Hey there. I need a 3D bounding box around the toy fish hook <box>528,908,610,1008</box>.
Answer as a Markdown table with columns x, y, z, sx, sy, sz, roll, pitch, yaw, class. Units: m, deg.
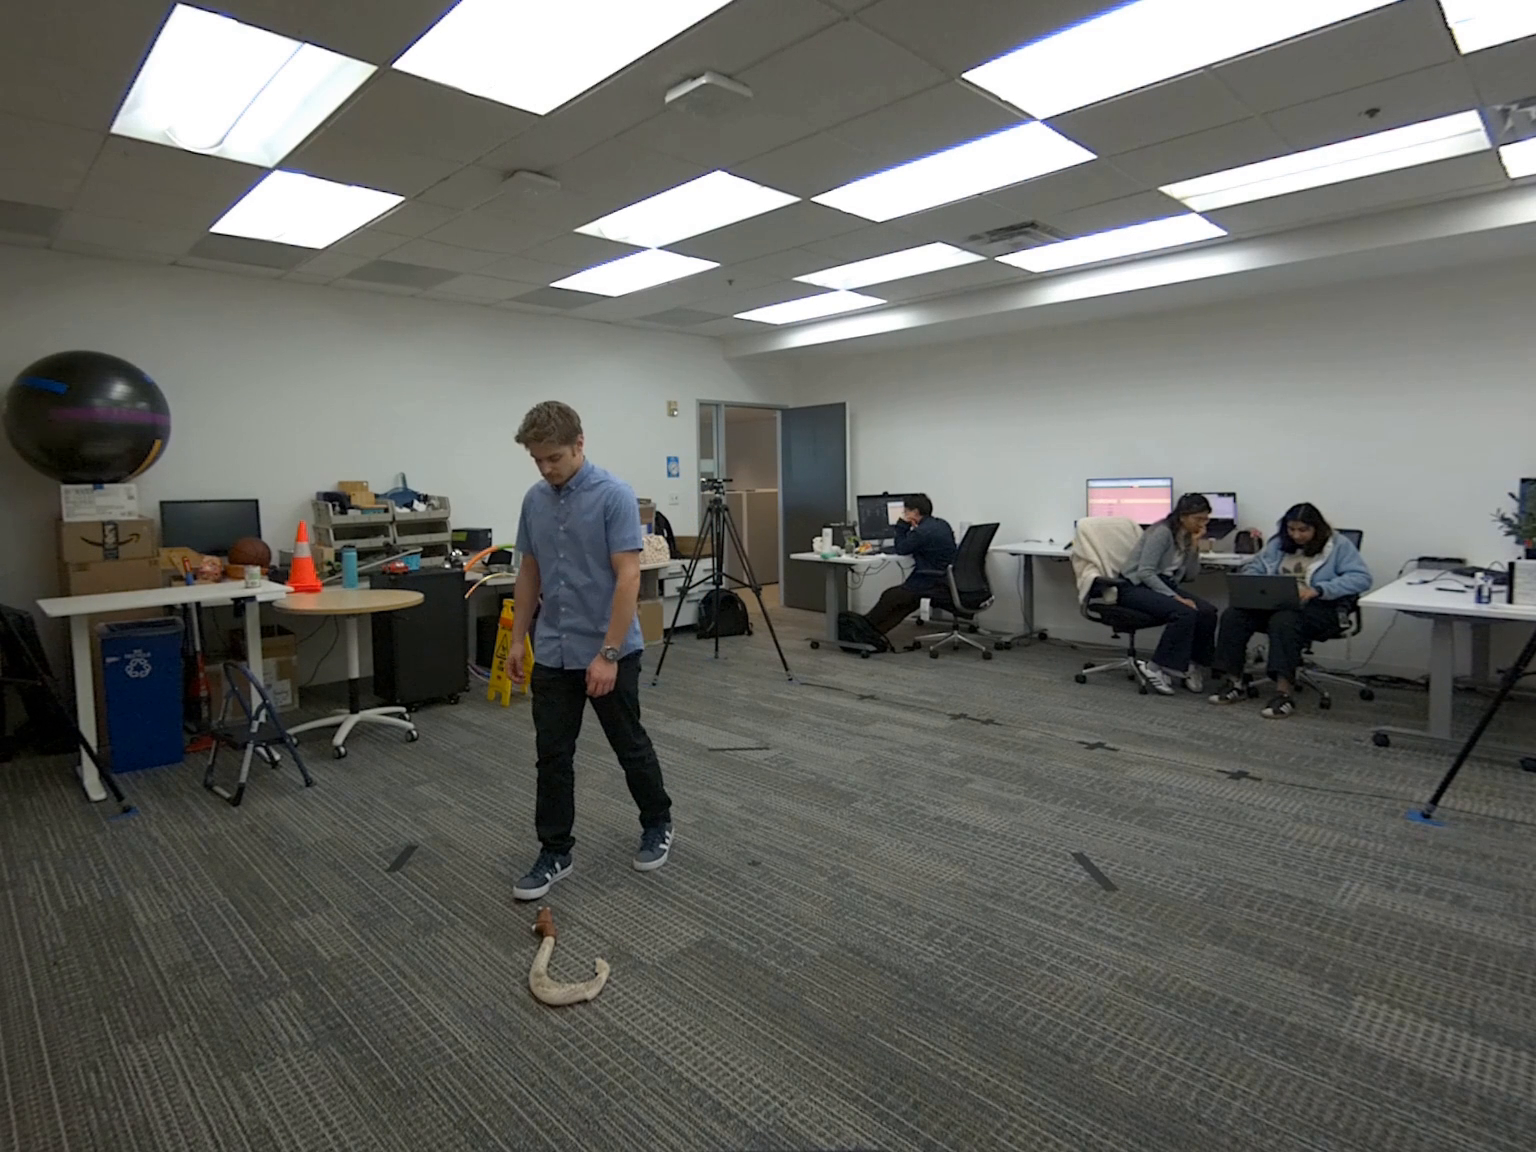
| x | y | z | sx | sy | sz | roll | pitch | yaw | class |
| --- | --- | --- | --- | --- | --- | --- | --- | --- | --- |
| -0.594 | 1.112 | 2.523 | 0.221 | 0.048 | 0.517 | 5 | 6 | -18 | toy fish hook |
